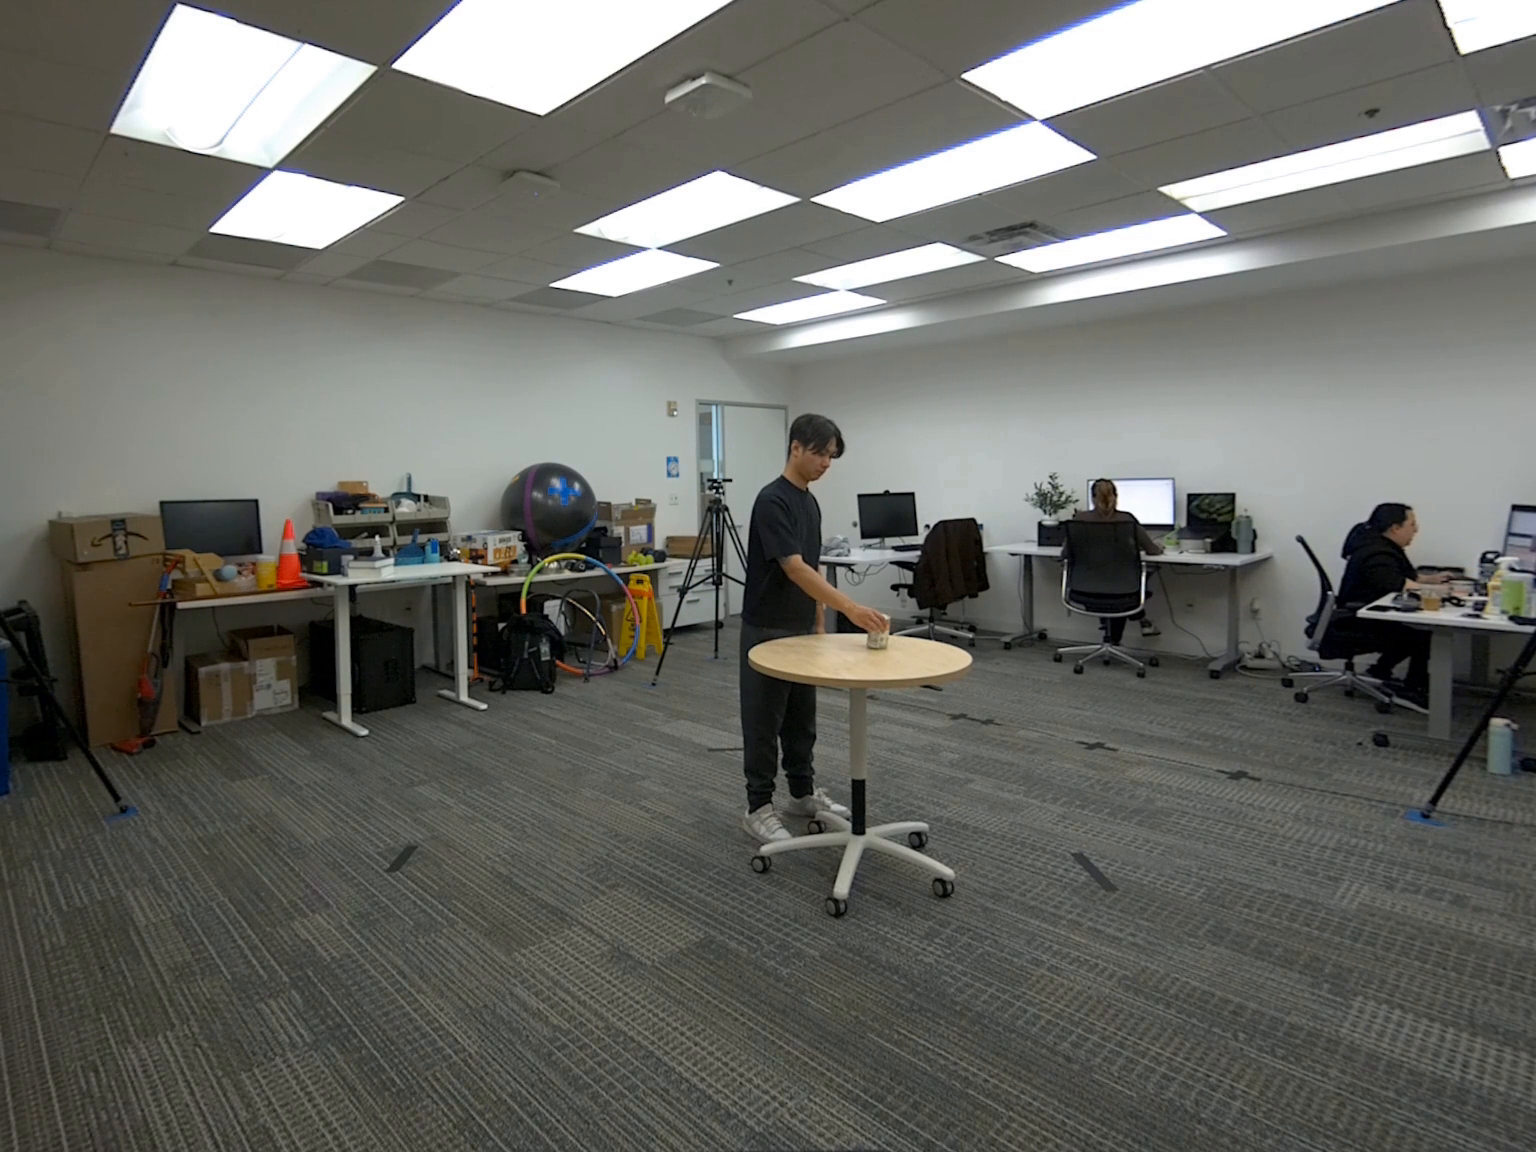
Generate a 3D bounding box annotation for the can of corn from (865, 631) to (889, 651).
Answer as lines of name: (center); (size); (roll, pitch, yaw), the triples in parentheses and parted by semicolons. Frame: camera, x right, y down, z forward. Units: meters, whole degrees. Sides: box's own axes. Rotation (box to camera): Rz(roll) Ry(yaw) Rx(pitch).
can of corn: (0.397, 0.201, 3.068); (0.074, 0.110, 0.075); (5, 9, -3)
